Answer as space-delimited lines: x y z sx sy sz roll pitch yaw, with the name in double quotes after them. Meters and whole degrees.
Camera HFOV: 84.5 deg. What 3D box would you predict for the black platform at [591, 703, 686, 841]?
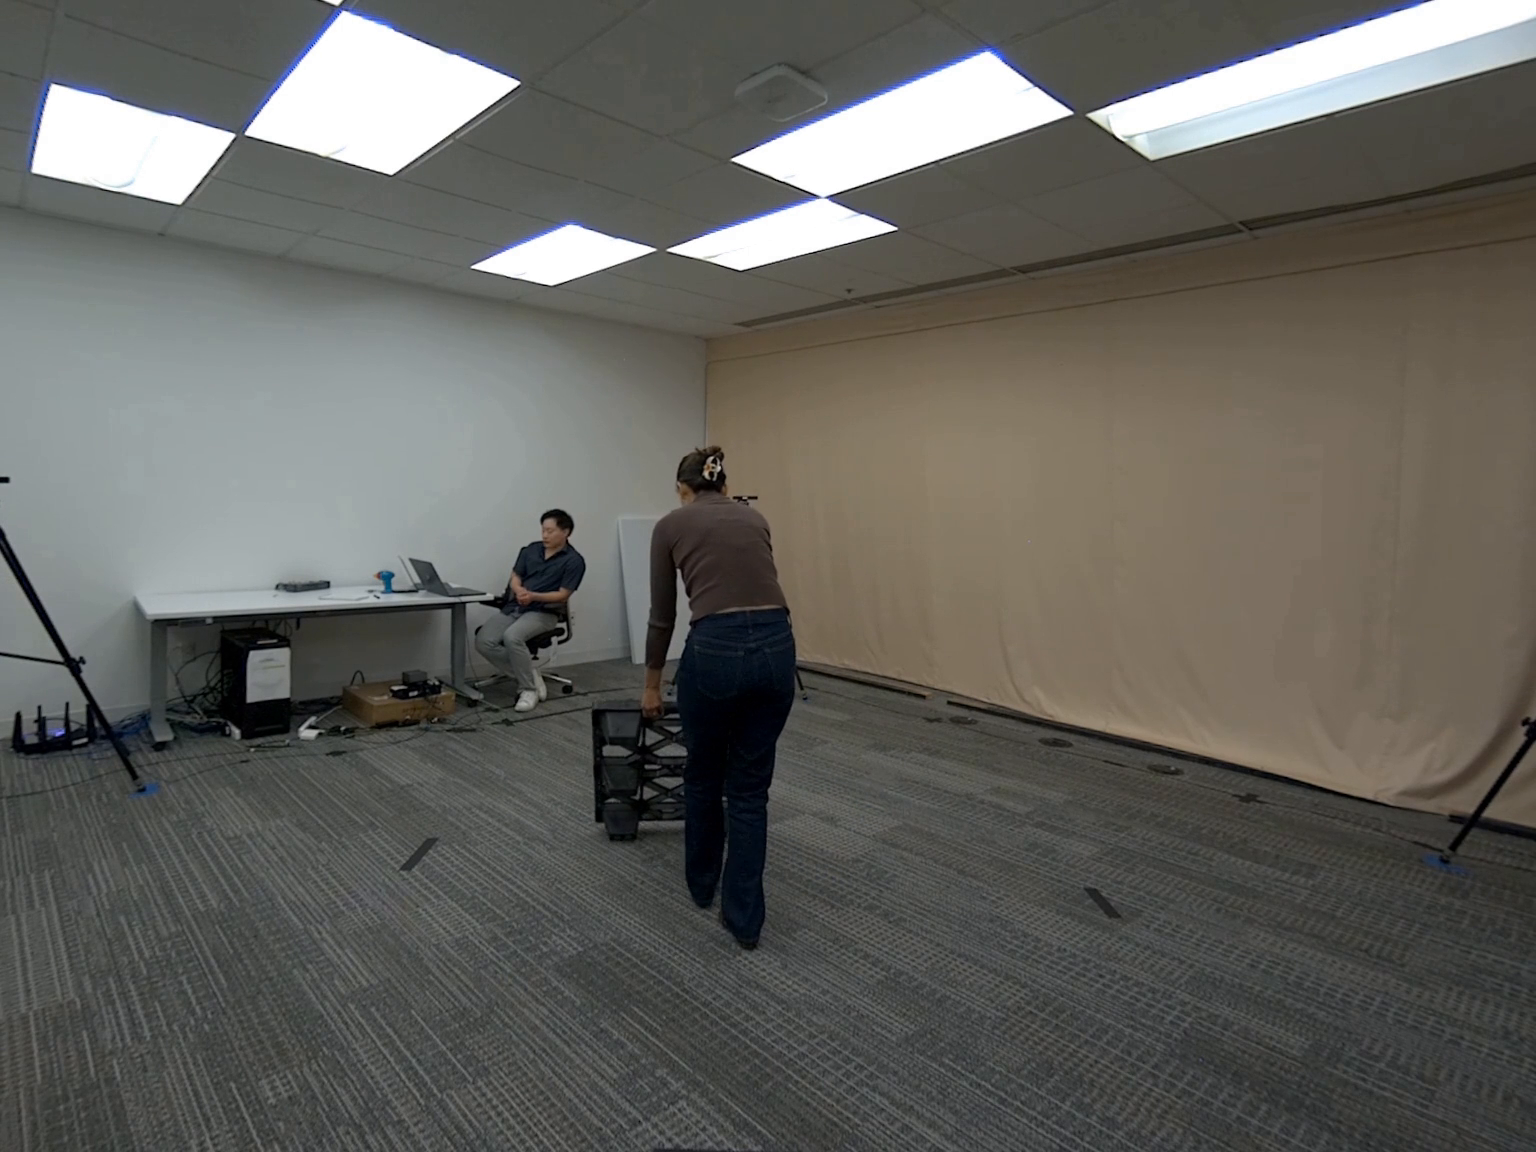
-0.382 0.764 3.209 0.602 0.790 0.147 1 44 -7 "black platform"
